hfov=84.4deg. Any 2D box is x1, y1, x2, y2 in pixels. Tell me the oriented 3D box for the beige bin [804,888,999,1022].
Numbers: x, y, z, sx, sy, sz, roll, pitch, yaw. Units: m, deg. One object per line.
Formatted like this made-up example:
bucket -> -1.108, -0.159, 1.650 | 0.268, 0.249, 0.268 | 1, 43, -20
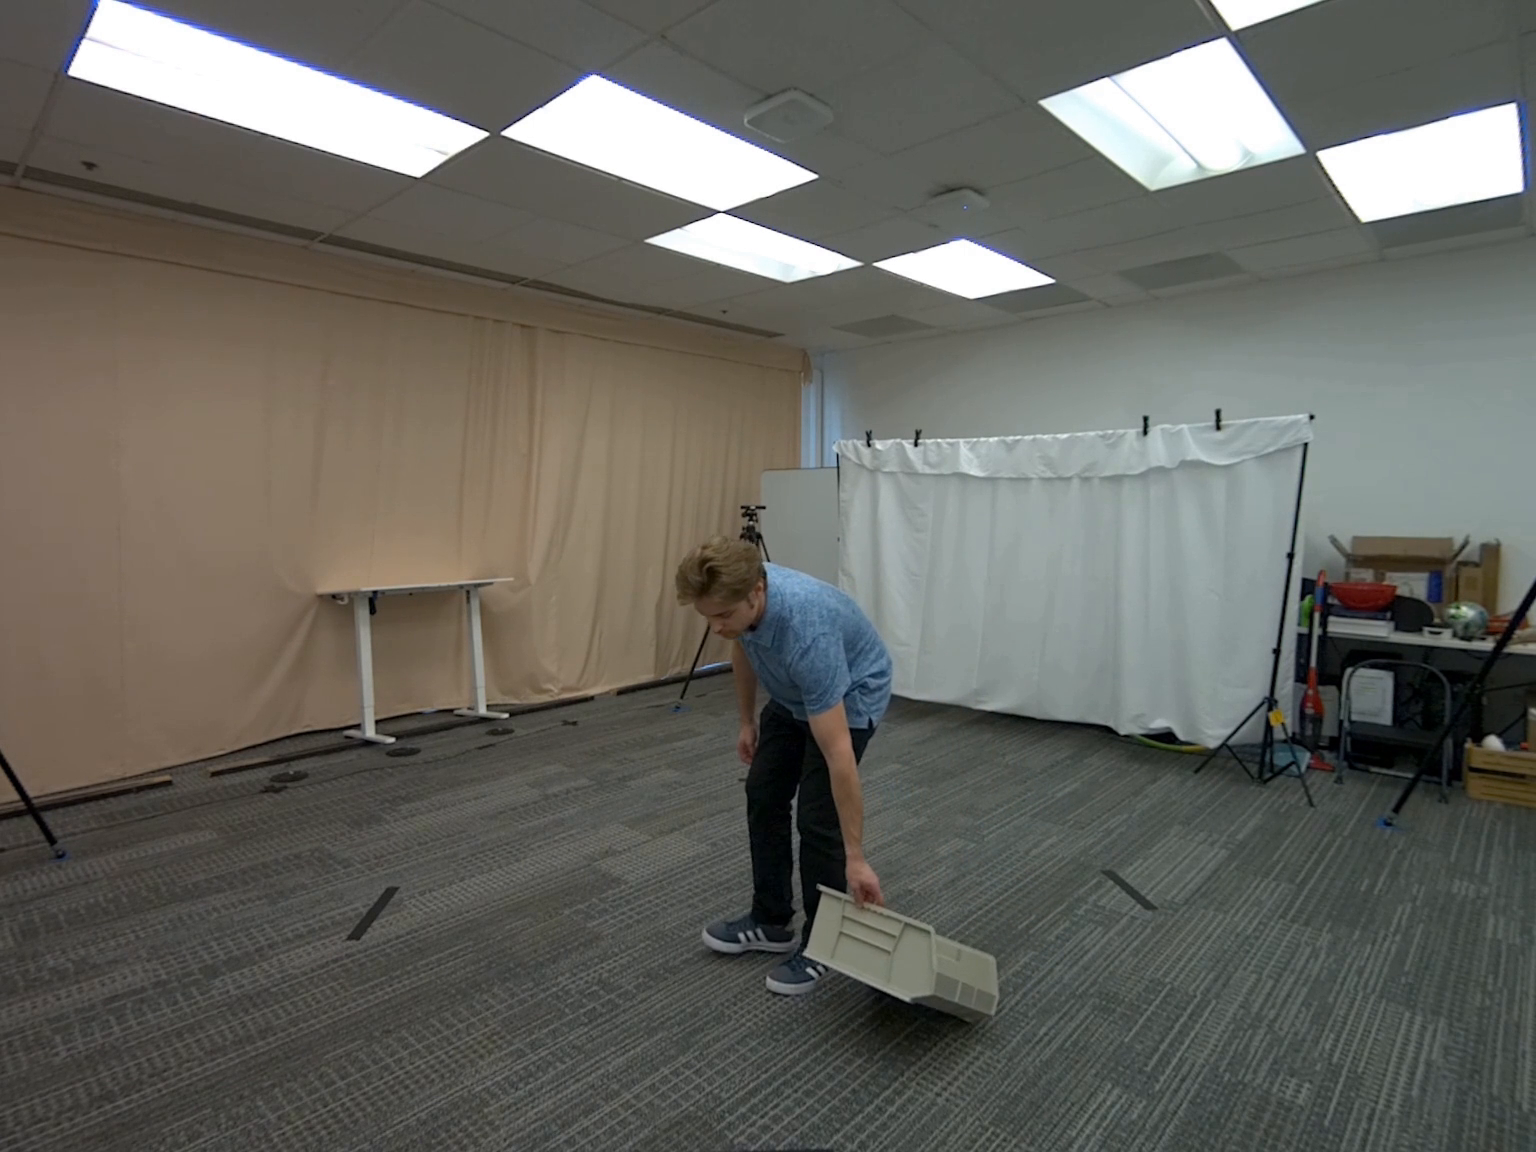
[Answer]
beige bin -> 0.372, 1.023, 2.250 | 0.390, 0.190, 0.407 | 4, -25, 40
